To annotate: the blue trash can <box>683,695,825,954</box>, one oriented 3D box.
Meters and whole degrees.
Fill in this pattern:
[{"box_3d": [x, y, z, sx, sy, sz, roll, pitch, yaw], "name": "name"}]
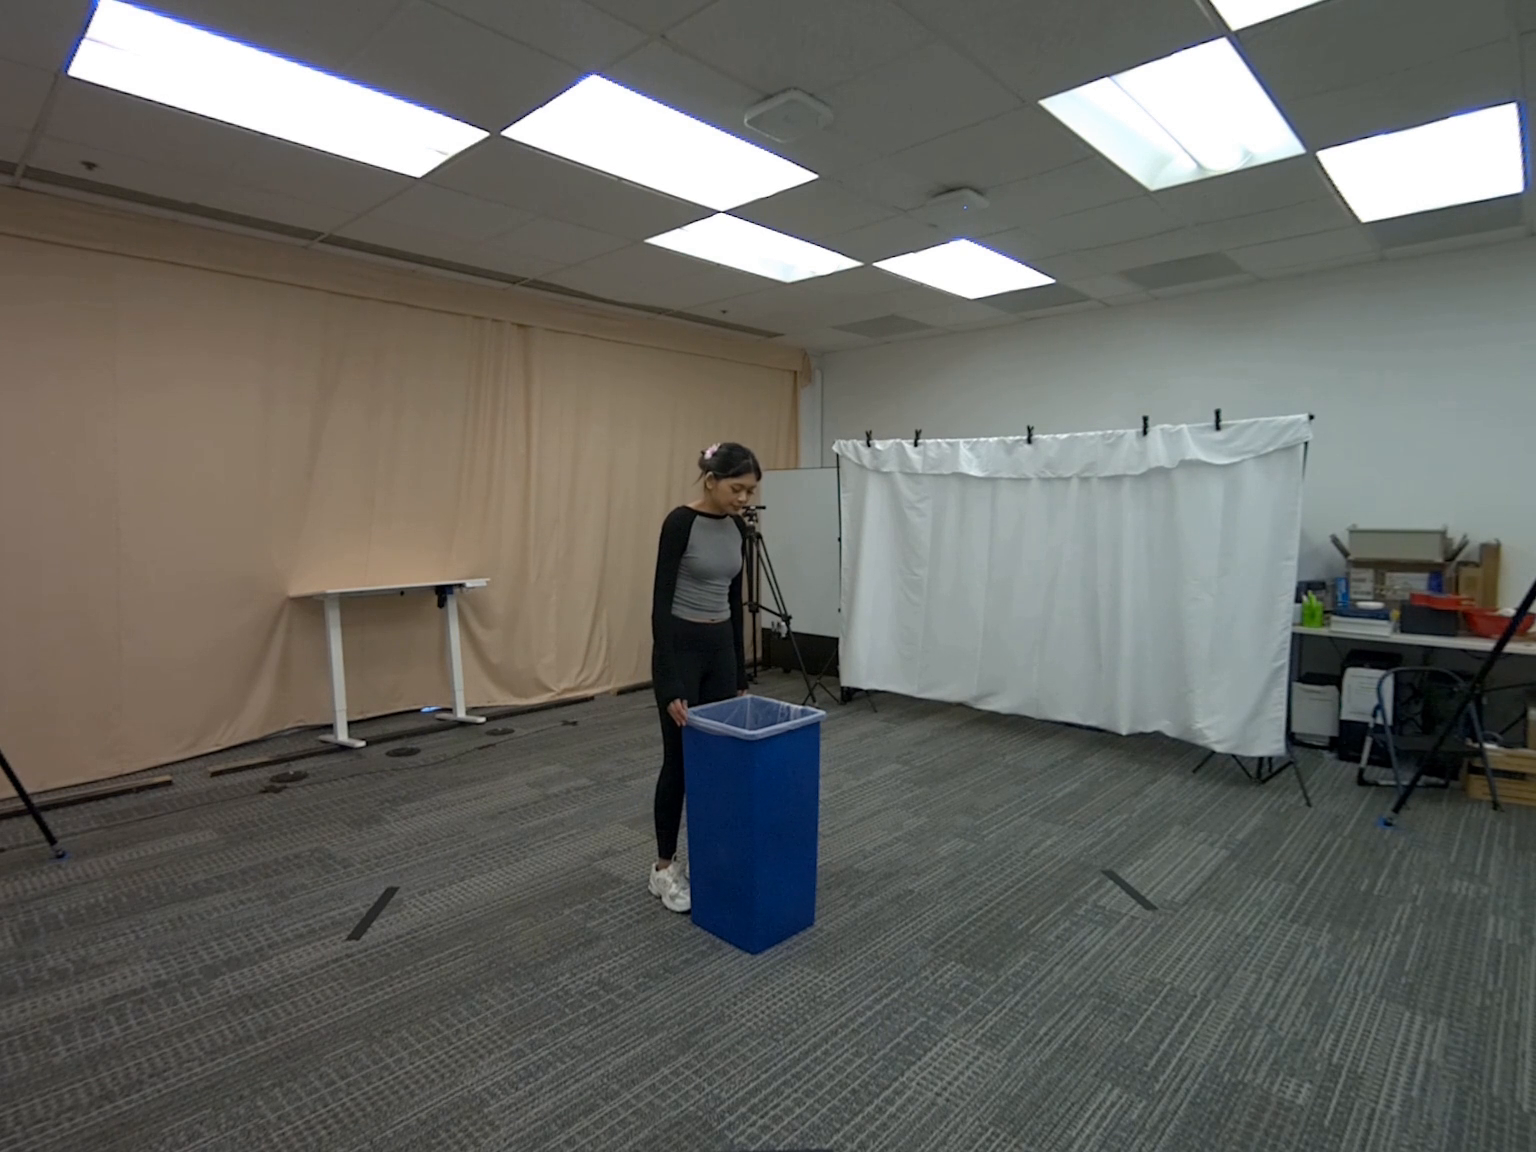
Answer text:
[{"box_3d": [-0.048, 0.804, 2.783, 0.391, 0.712, 0.362, 3, 4, 44], "name": "blue trash can"}]
